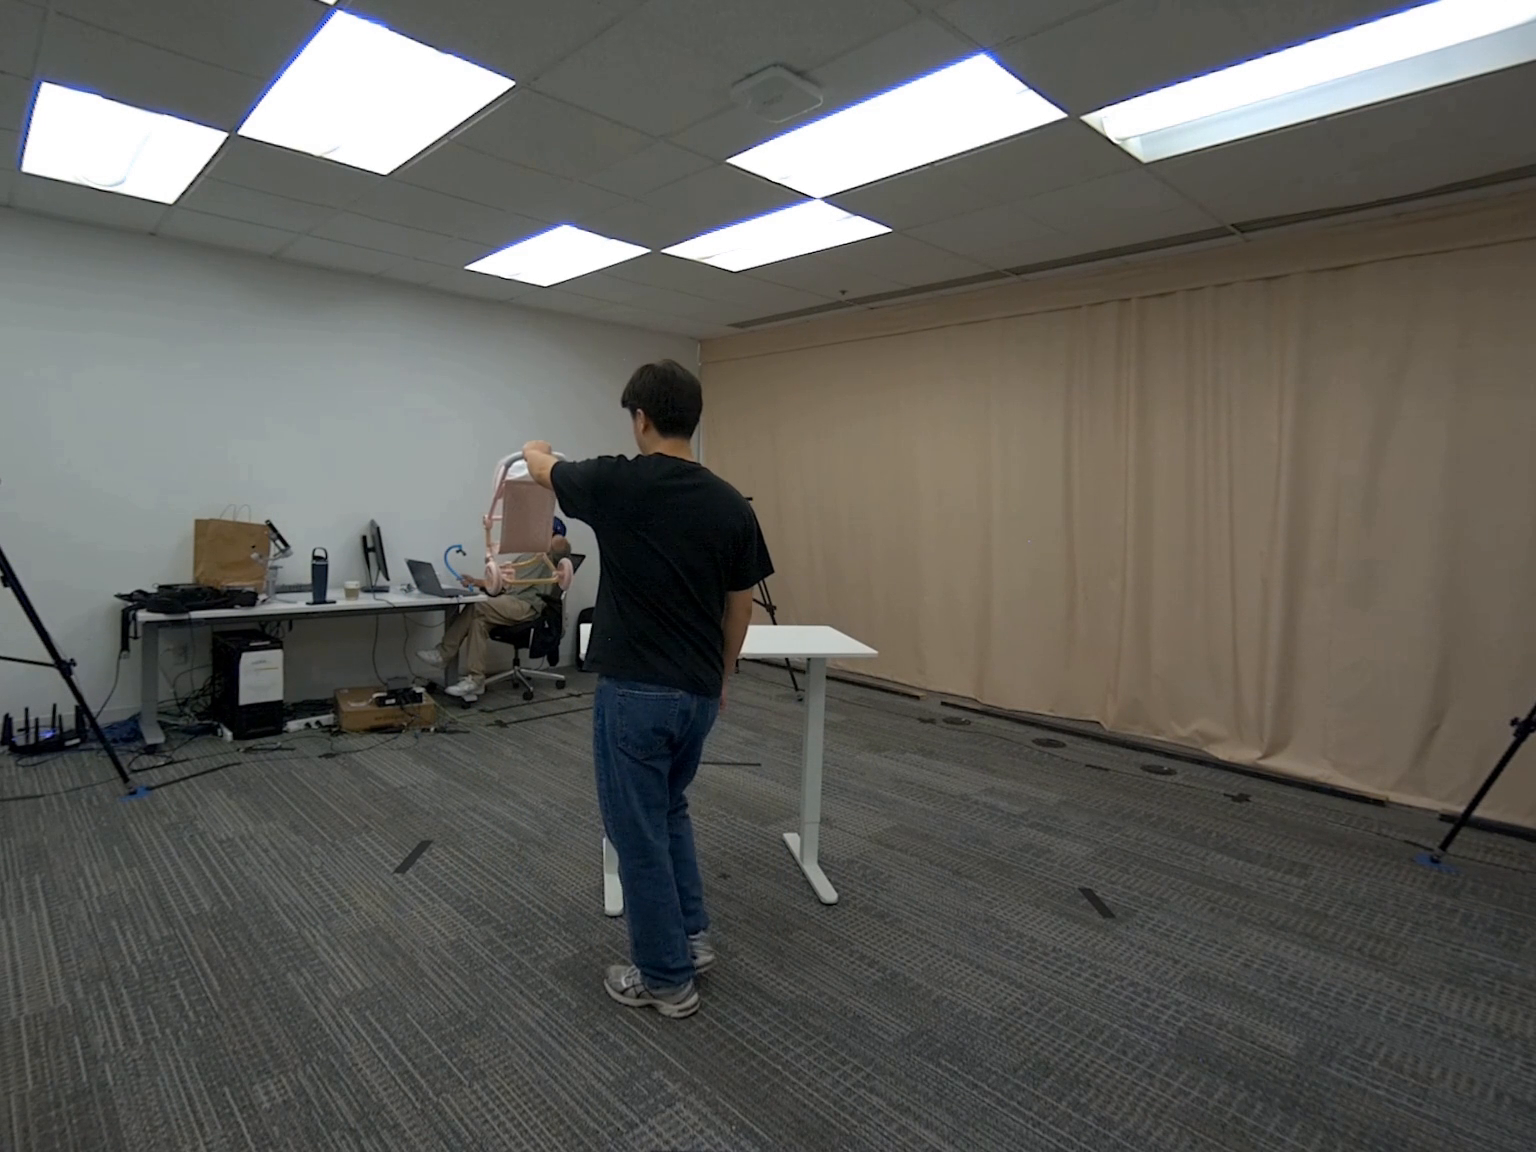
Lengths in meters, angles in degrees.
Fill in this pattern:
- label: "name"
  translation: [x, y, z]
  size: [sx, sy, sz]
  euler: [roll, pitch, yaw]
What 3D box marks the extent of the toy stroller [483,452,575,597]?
- label: "toy stroller"
  translation: [-0.839, -0.173, 2.863]
  size: [0.276, 0.531, 0.351]
  euler: [-2, 14, -30]
